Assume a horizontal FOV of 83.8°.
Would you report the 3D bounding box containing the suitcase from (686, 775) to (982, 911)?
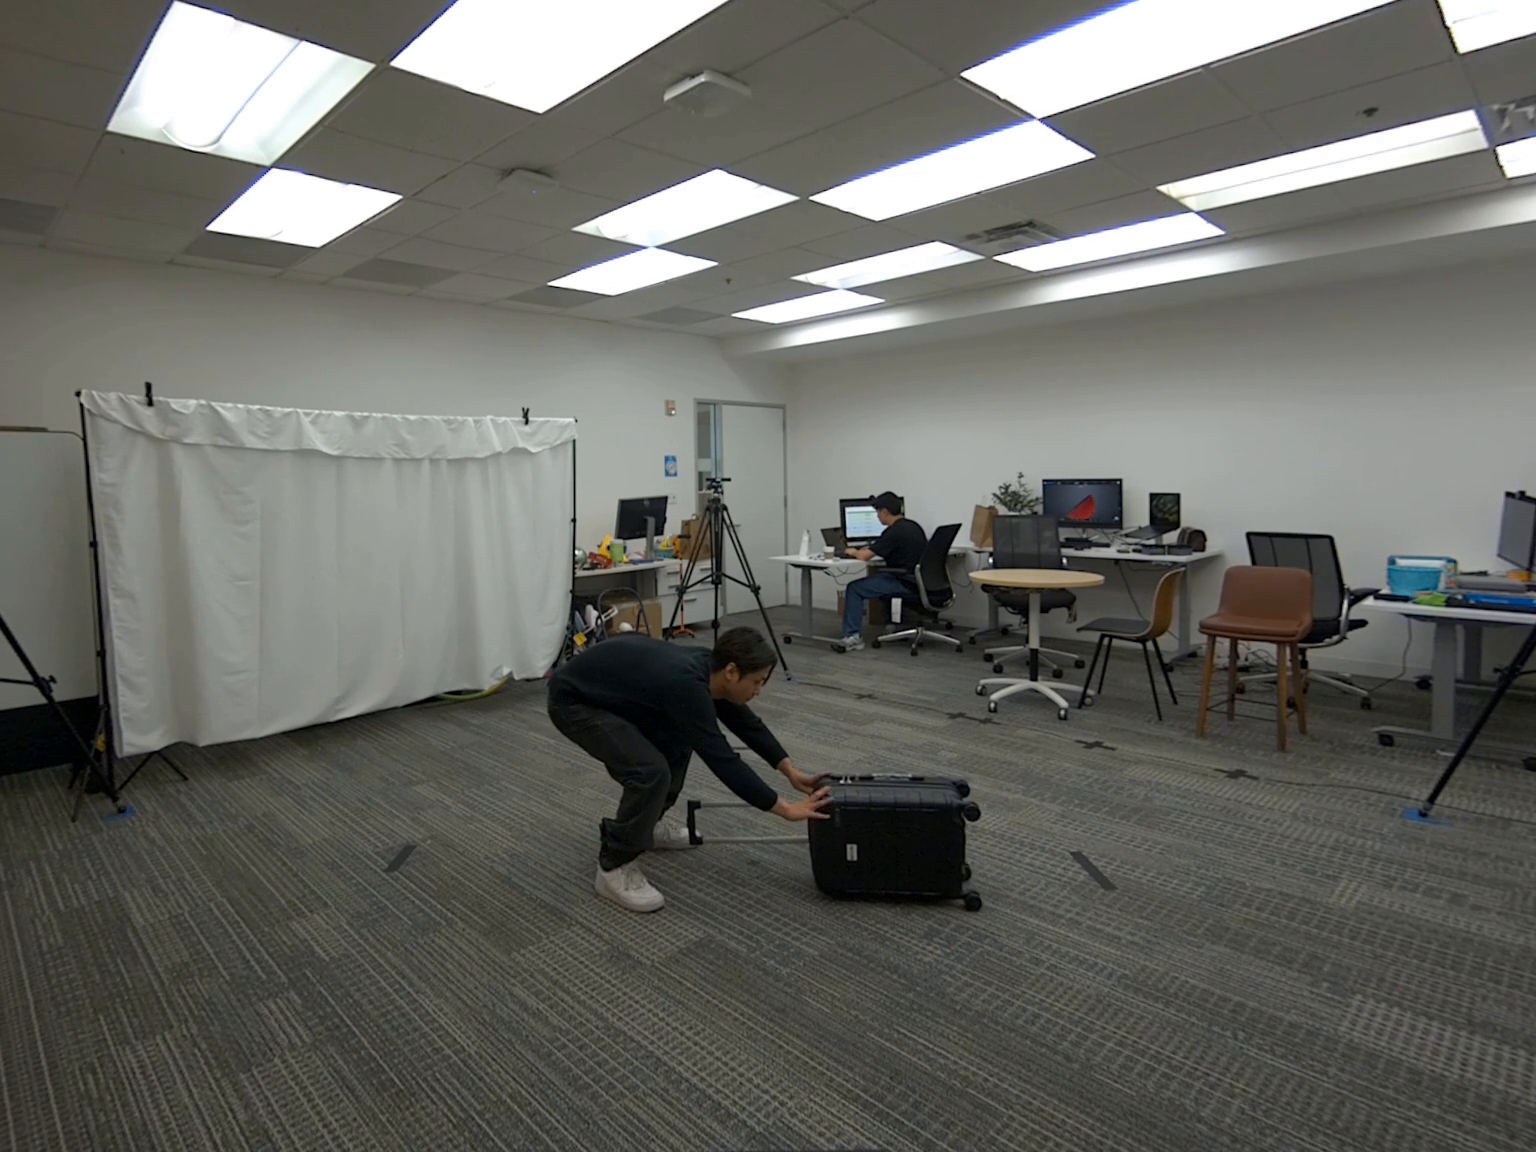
[{"bbox_3d":[0.204,0.874,2.899,0.985,0.383,0.256,0,3,6],"label":"suitcase"}]
